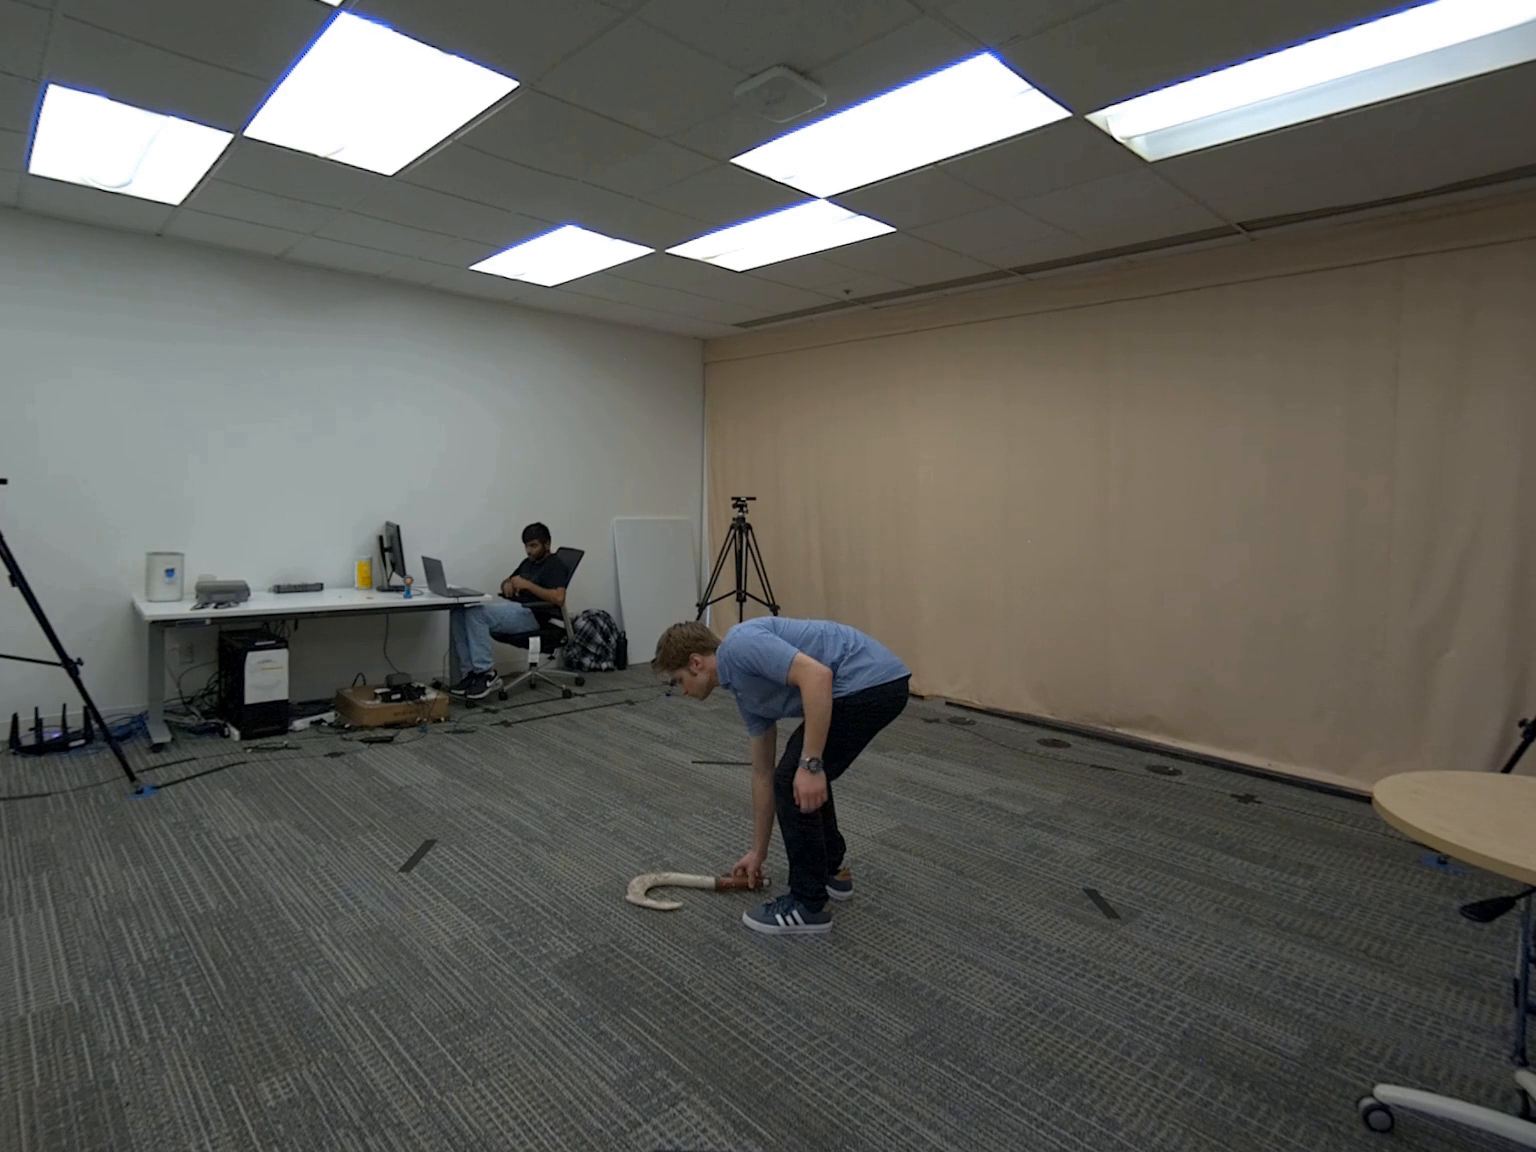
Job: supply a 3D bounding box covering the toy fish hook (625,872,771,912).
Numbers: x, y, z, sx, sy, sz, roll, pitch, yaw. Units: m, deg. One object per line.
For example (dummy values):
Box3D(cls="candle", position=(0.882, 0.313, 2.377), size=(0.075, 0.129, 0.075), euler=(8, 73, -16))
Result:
Box3D(cls="toy fish hook", position=(-0.243, 1.095, 2.940), size=(0.505, 0.048, 0.227), euler=(-1, 13, -3))
